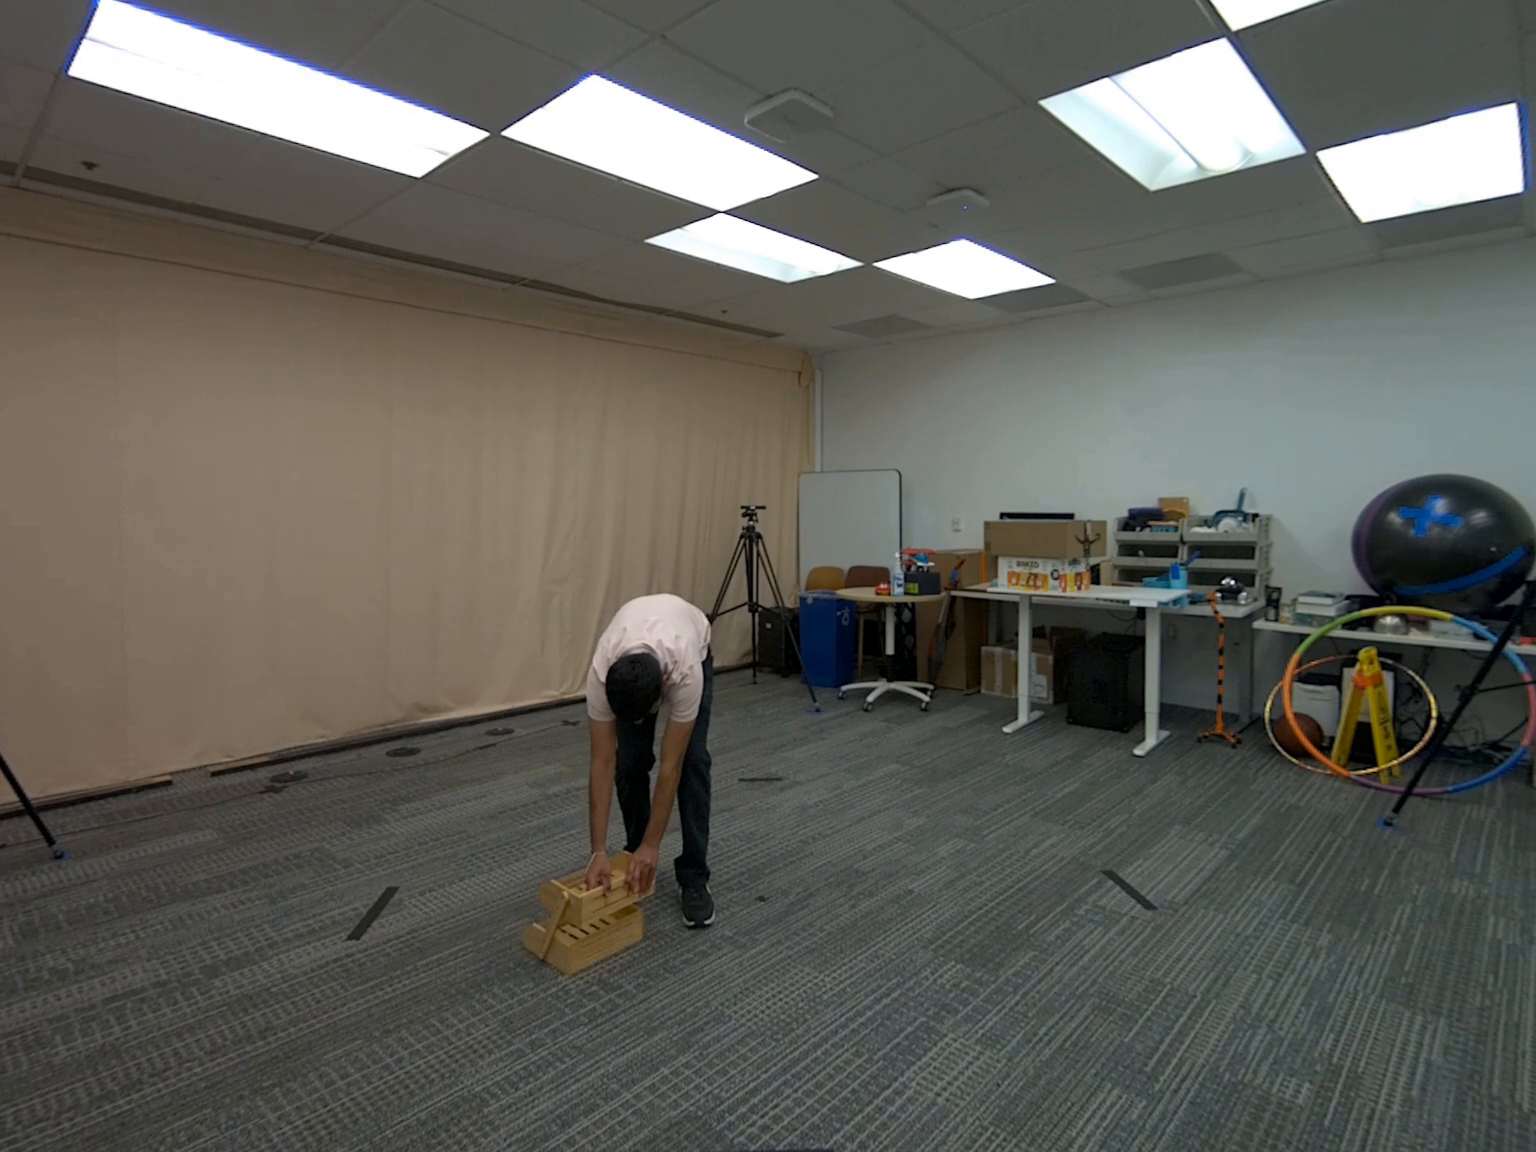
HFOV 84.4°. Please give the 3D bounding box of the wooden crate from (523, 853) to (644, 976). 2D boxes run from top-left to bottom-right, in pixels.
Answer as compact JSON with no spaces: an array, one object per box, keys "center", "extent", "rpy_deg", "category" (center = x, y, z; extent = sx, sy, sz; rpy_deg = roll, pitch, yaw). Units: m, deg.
[{"center":[-0.569,1.038,2.666],"extent":[0.312,0.272,0.314],"rpy_deg":[5,6,41],"category":"wooden crate"}]
